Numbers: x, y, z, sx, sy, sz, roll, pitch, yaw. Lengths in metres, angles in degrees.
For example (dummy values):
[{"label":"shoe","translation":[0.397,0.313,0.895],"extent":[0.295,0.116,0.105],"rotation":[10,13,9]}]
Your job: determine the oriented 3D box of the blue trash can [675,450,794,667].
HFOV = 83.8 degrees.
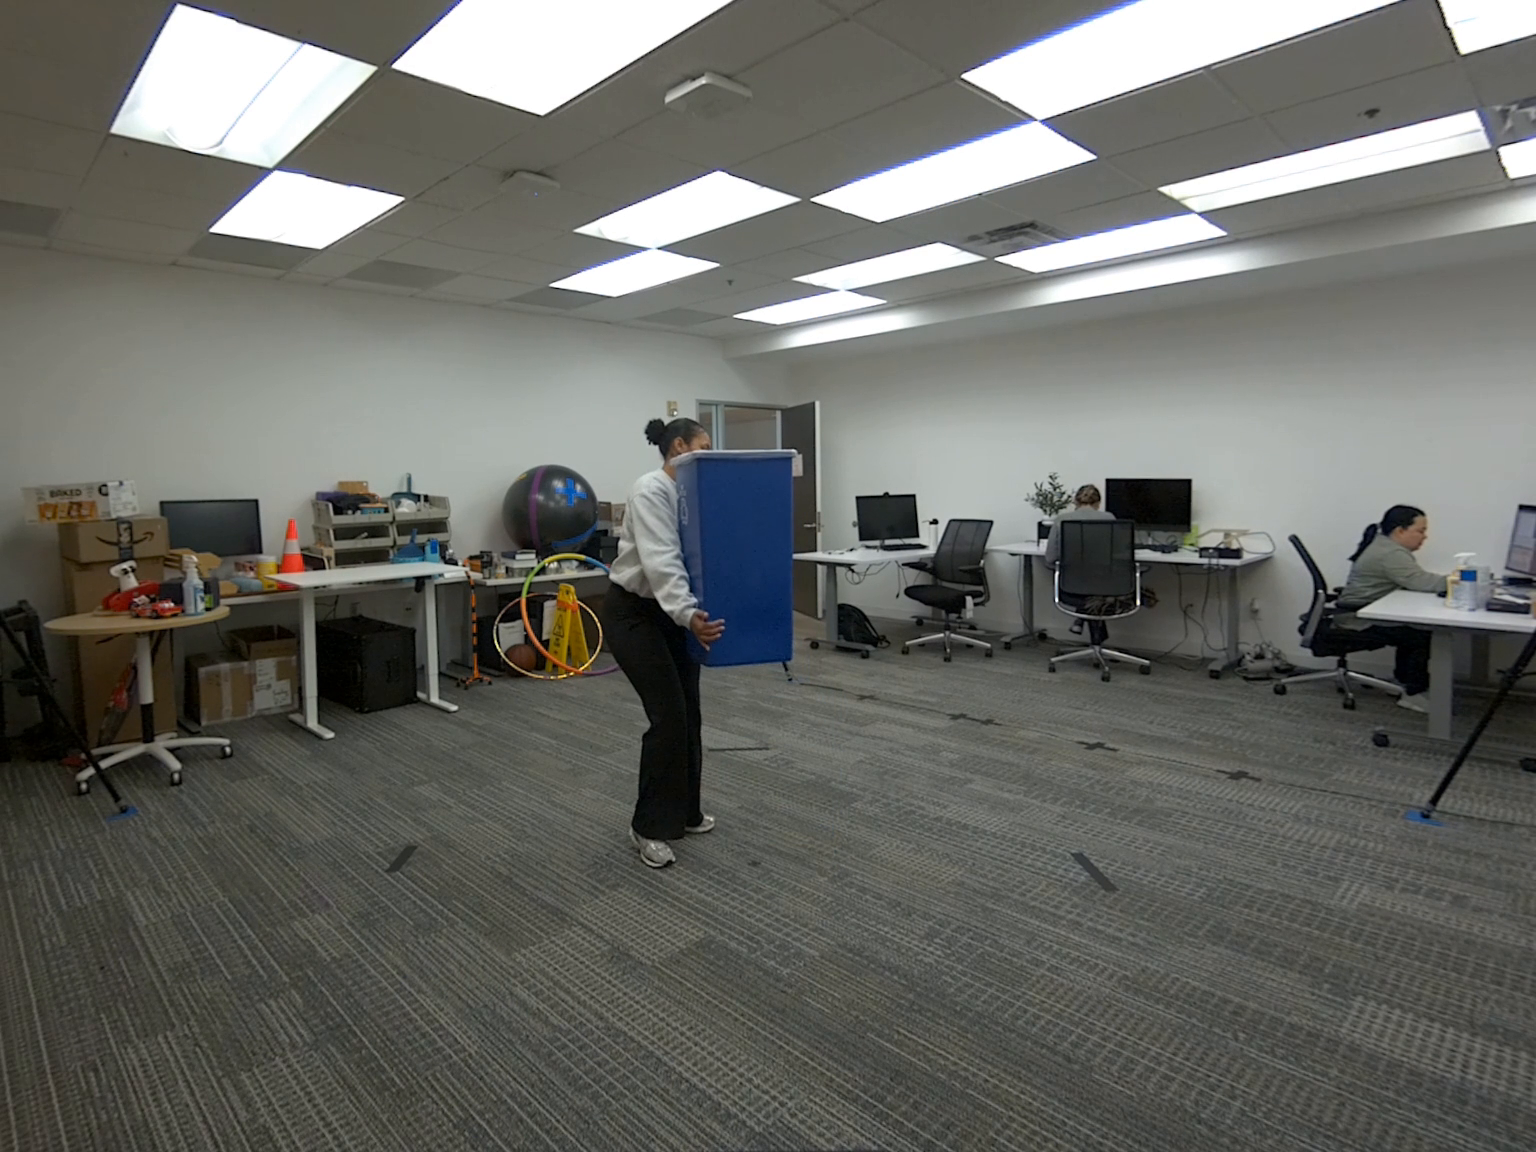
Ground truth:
[{"label":"blue trash can","translation":[-0.122,-0.054,2.981],"extent":[0.368,0.713,0.385],"rotation":[-1,1,-19]}]
